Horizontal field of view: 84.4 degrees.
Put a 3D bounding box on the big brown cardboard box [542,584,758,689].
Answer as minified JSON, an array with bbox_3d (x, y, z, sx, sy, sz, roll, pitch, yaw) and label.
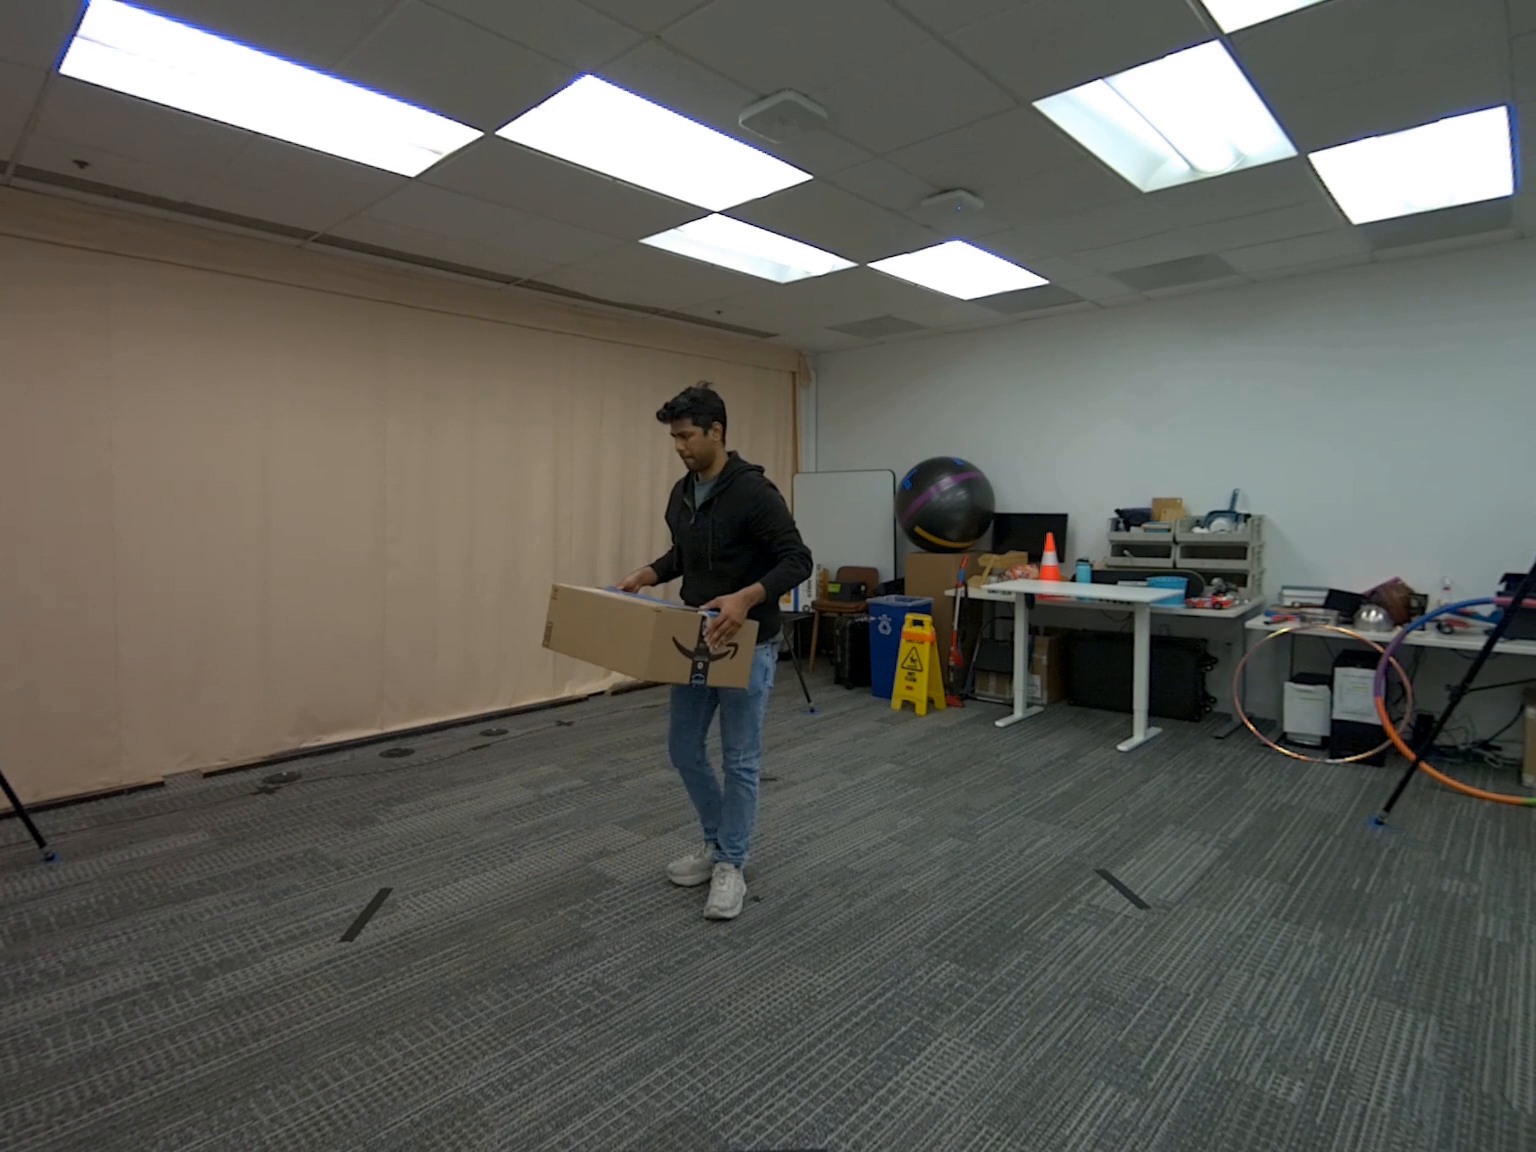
[{"bbox_3d":[-0.389,0.191,2.716,0.403,0.233,0.609,11,-1,-44],"label":"big brown cardboard box"}]
